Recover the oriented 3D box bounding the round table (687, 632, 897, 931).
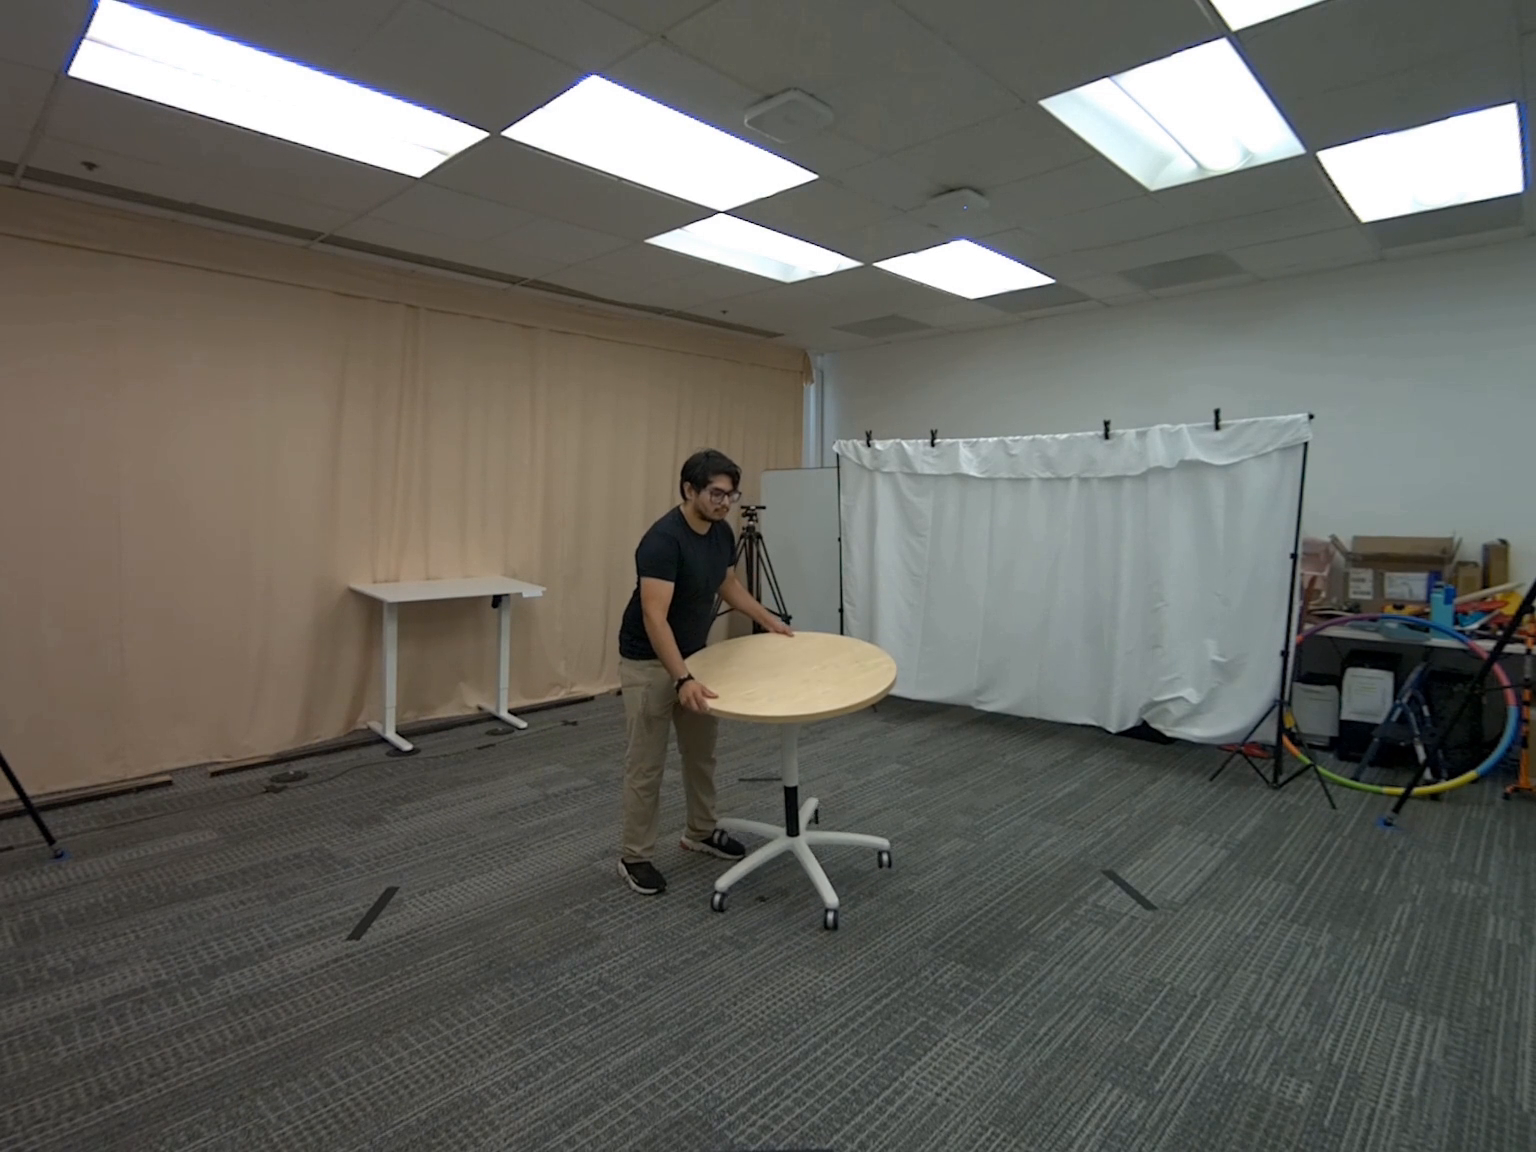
[{"bbox_3d":[0.099,0.695,3.029,0.785,0.779,0.793,-3,14,-1],"label":"round table"}]
